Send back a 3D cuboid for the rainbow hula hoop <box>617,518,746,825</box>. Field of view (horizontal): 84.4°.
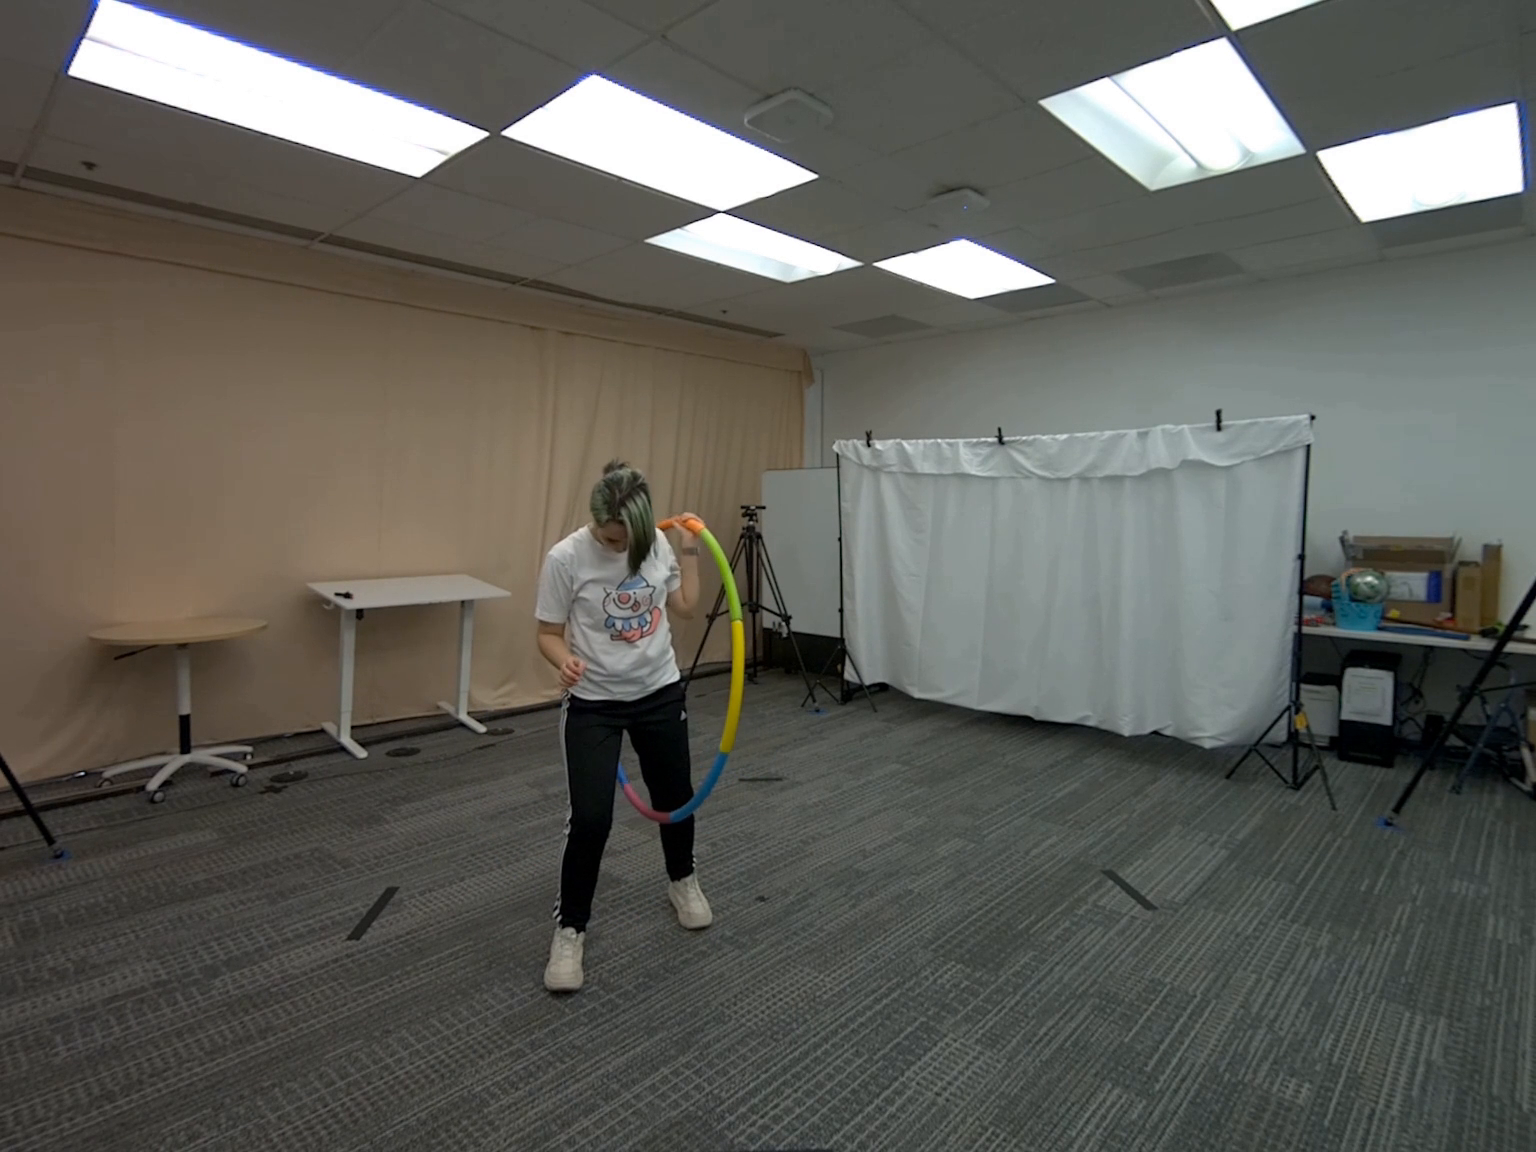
[{"bbox_3d":[-0.337,0.297,2.785,0.034,0.979,1.008,8,-1,-32],"label":"rainbow hula hoop"}]
